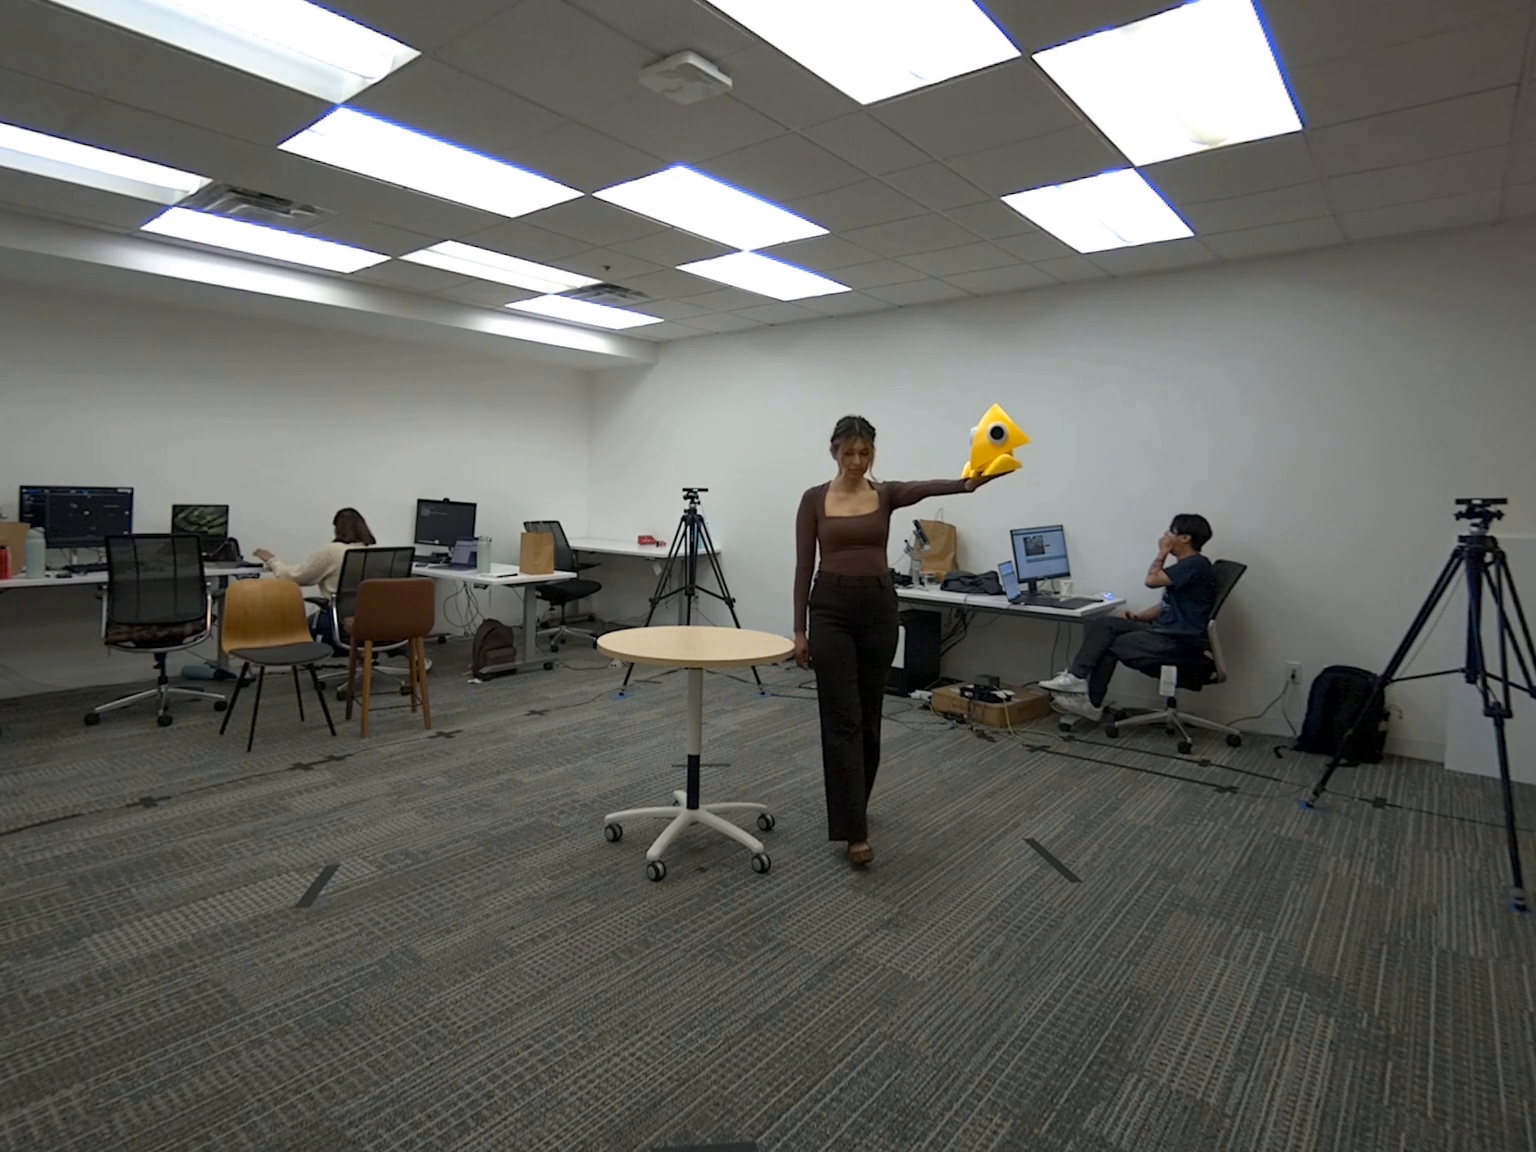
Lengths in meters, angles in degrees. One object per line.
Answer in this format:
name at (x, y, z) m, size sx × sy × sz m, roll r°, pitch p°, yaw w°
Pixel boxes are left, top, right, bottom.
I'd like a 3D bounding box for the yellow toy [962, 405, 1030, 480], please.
yellow toy at (0.751, -0.472, 2.913) m, size 0.190 × 0.230 × 0.209 m, roll -14°, pitch 5°, yaw -23°
